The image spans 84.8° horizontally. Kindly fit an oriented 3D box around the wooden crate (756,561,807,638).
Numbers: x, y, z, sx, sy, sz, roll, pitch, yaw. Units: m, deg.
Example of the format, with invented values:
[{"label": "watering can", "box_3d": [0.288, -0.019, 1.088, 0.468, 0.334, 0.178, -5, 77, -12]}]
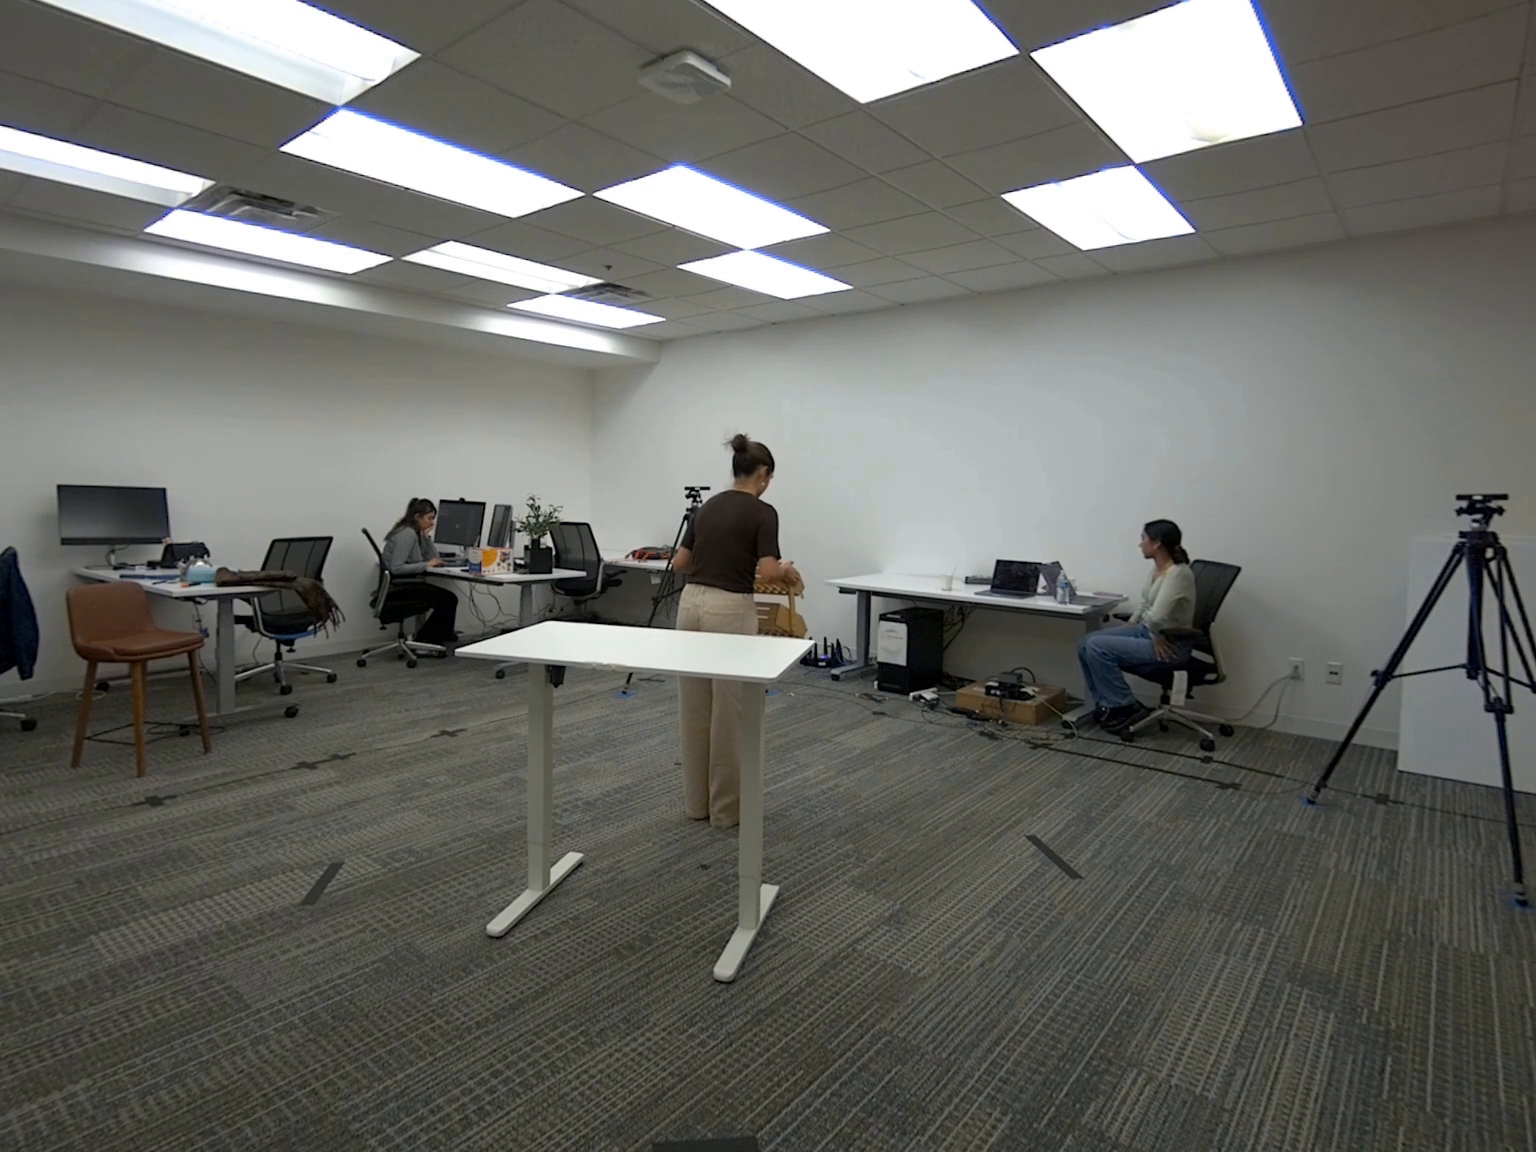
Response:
[{"label": "wooden crate", "box_3d": [-0.022, 0.099, 3.791, 0.334, 0.276, 0.289, 1, -19, 36]}]
